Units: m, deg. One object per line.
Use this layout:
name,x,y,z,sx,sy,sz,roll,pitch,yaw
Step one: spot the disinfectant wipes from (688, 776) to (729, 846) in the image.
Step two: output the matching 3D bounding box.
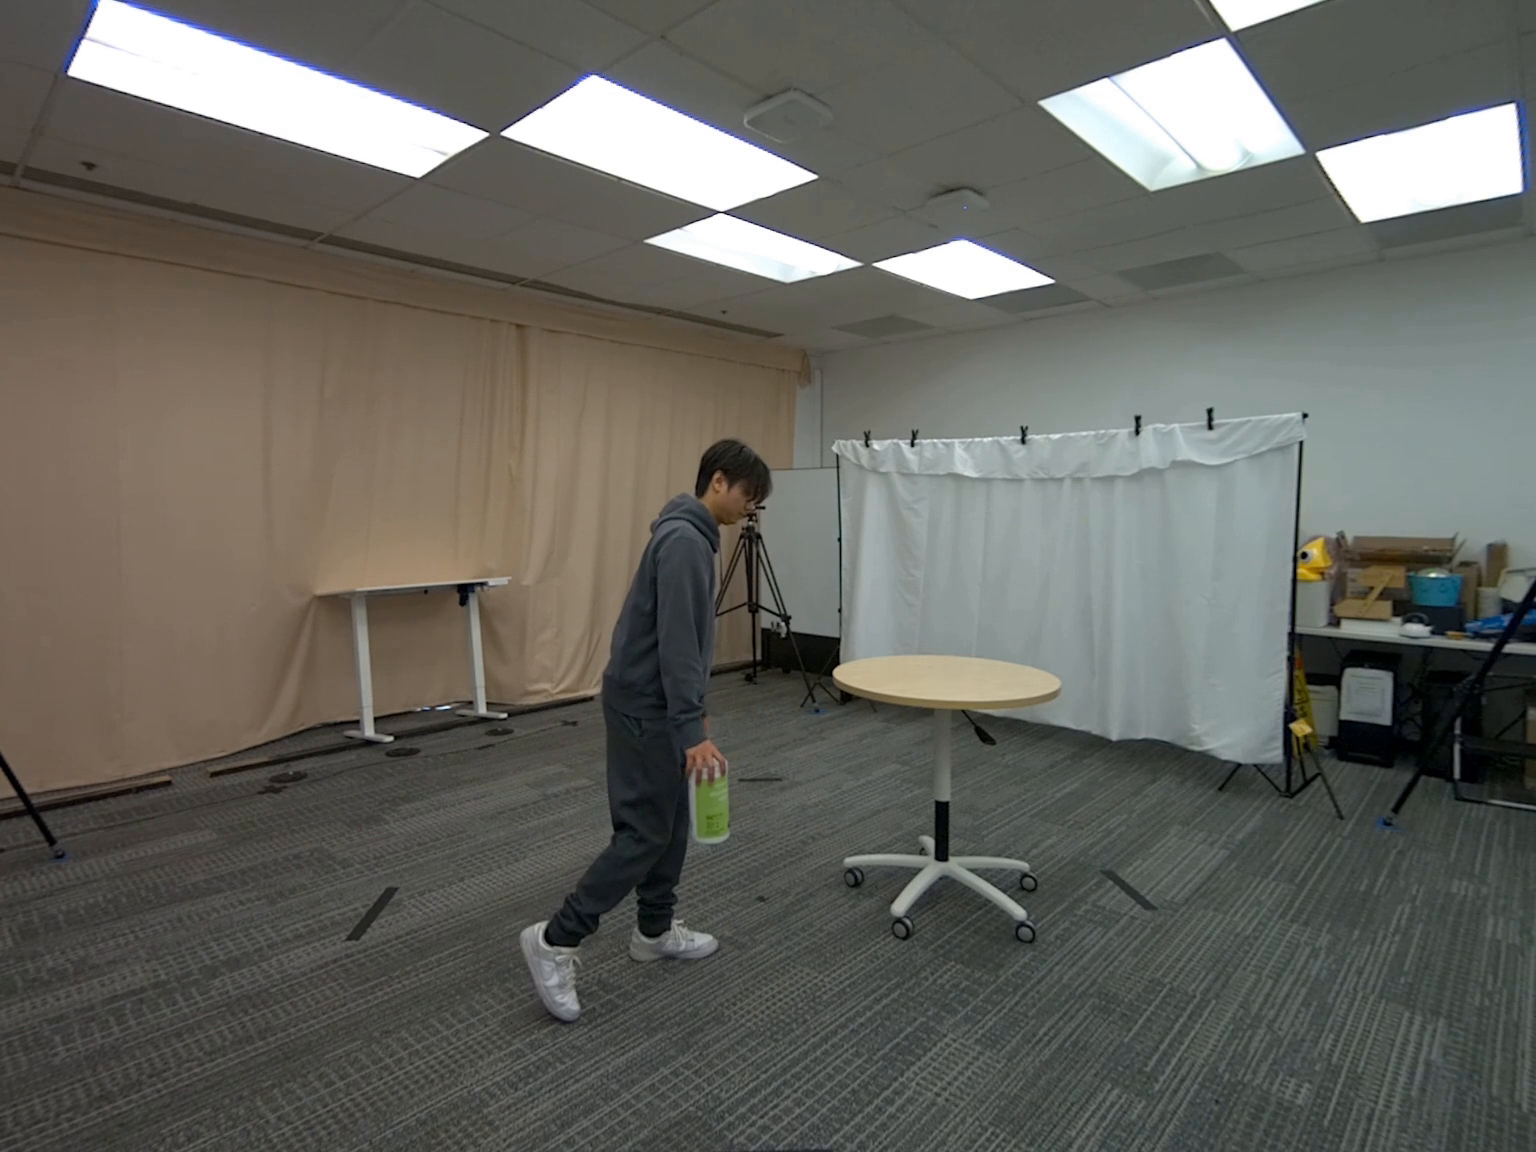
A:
disinfectant wipes,-0.161,0.612,2.299,0.118,0.217,0.118,-1,5,-2
